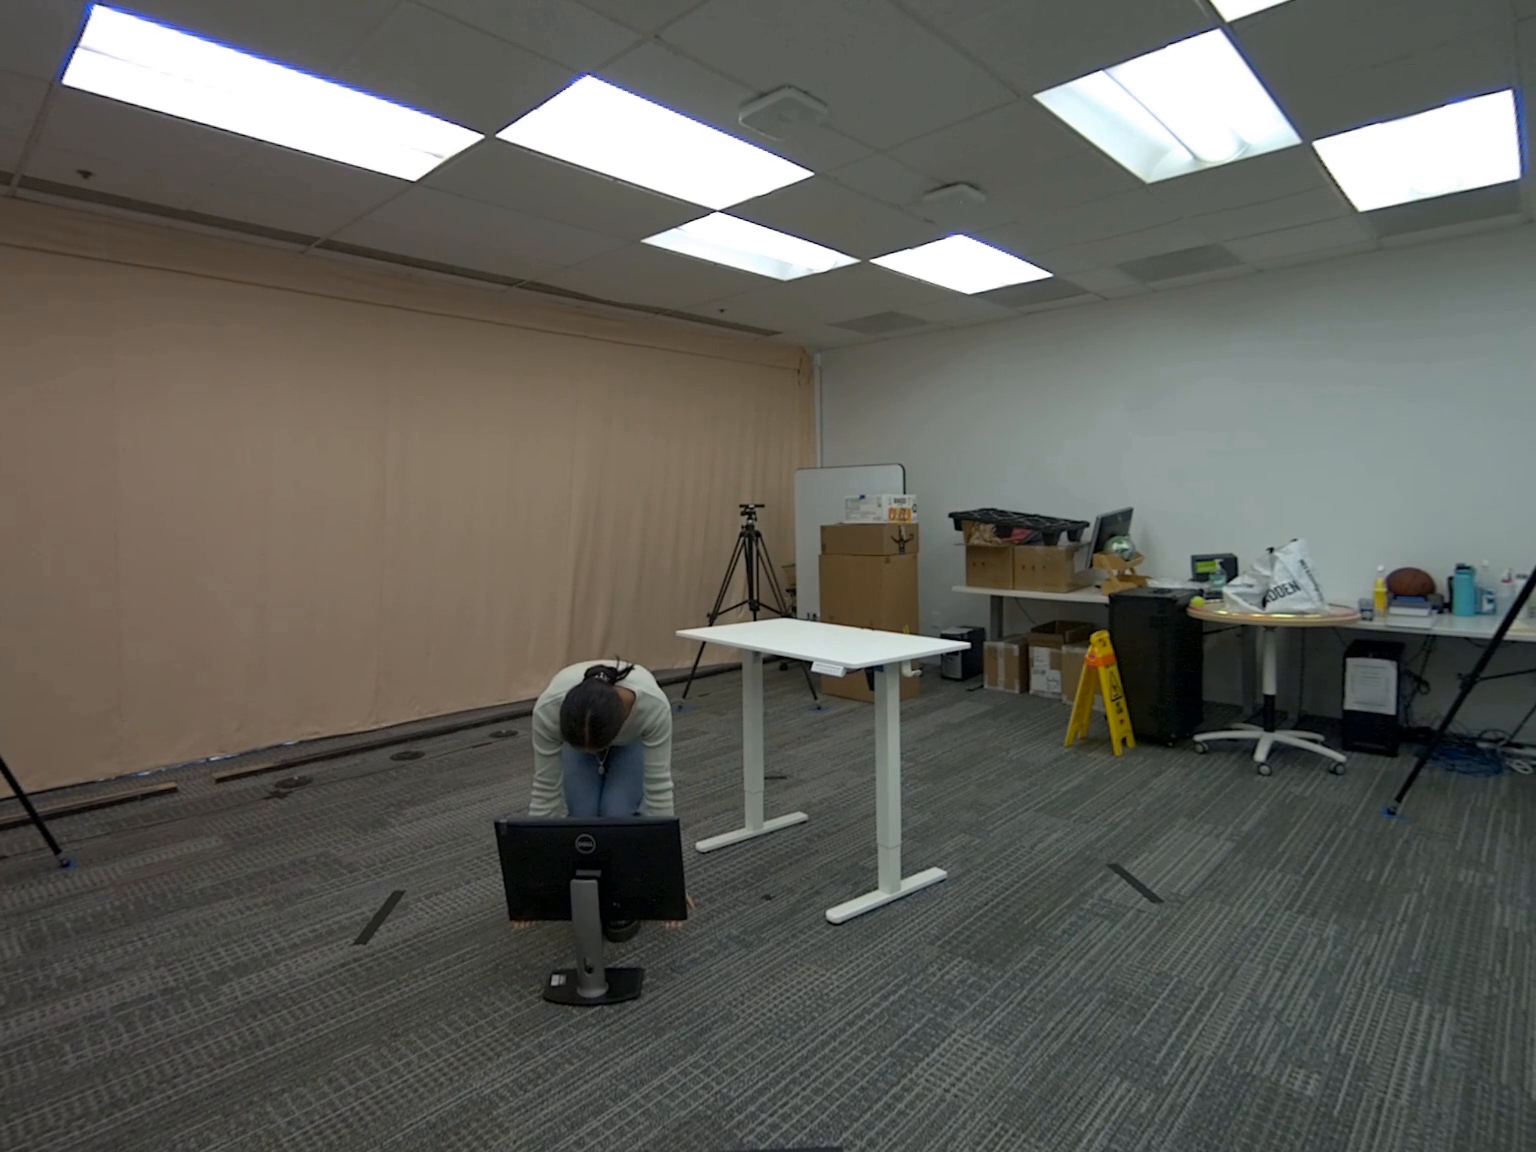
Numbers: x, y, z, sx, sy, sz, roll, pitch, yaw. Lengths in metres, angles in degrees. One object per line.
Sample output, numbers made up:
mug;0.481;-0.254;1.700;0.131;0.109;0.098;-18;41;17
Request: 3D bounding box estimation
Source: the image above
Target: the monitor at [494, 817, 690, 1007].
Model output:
monitor;-0.513;0.944;2.422;0.540;0.521;0.187;-2;5;1
